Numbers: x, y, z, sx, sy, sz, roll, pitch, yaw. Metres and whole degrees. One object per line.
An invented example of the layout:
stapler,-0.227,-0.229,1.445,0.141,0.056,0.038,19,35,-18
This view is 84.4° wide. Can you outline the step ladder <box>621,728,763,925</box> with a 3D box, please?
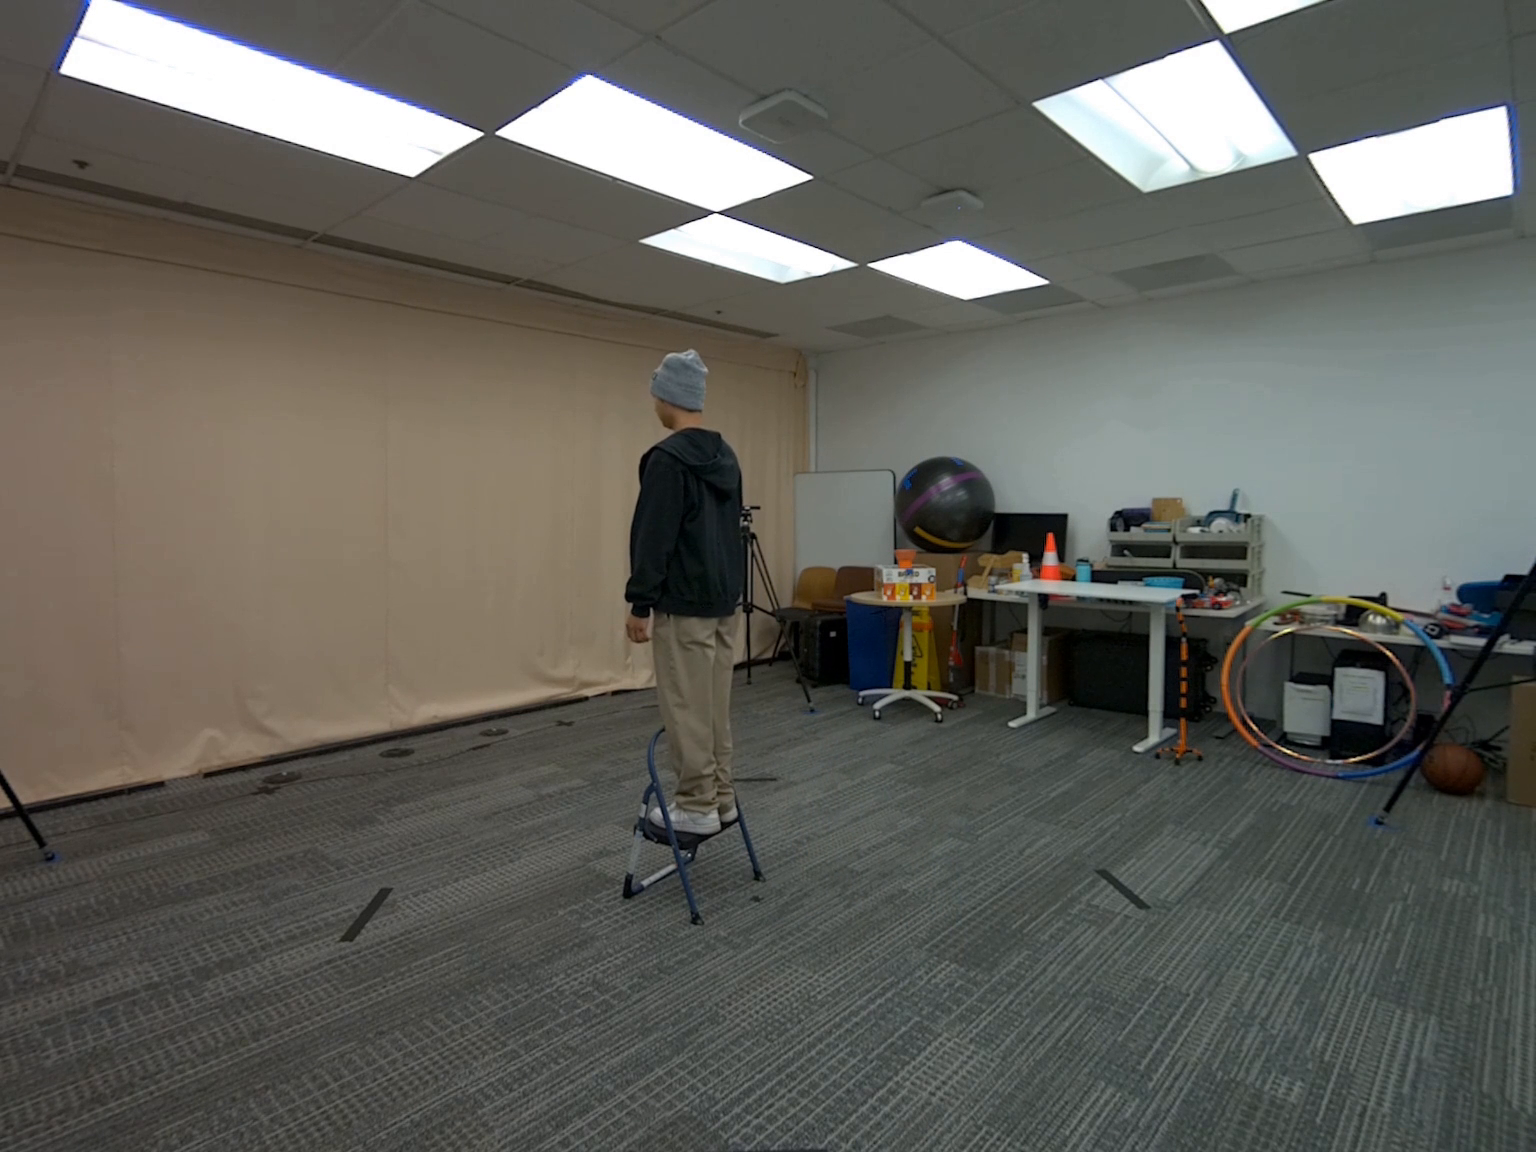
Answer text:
step ladder,-0.269,0.838,3.056,0.360,0.605,0.419,1,4,33
